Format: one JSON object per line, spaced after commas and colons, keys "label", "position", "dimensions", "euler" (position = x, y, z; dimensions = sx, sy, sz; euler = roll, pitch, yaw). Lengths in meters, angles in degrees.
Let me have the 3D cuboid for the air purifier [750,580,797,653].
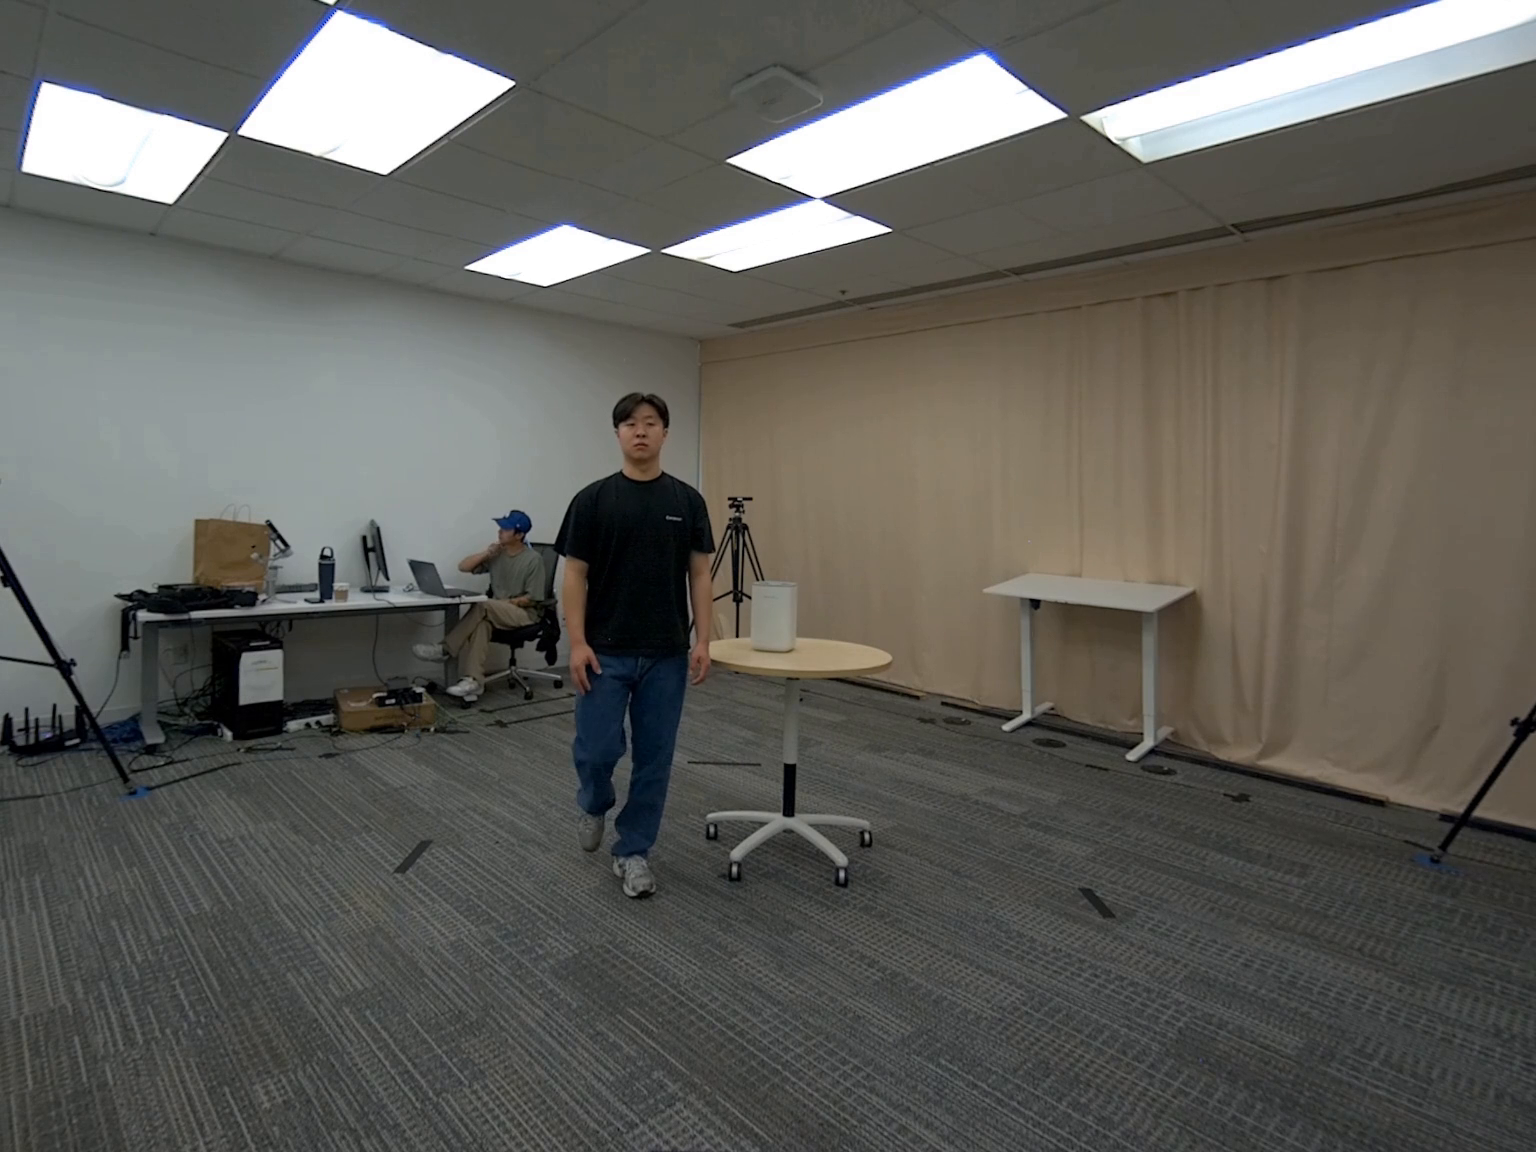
{"label": "air purifier", "position": [0.016, 0.163, 3.367], "dimensions": [0.173, 0.264, 0.170], "euler": [2, 5, 14]}
